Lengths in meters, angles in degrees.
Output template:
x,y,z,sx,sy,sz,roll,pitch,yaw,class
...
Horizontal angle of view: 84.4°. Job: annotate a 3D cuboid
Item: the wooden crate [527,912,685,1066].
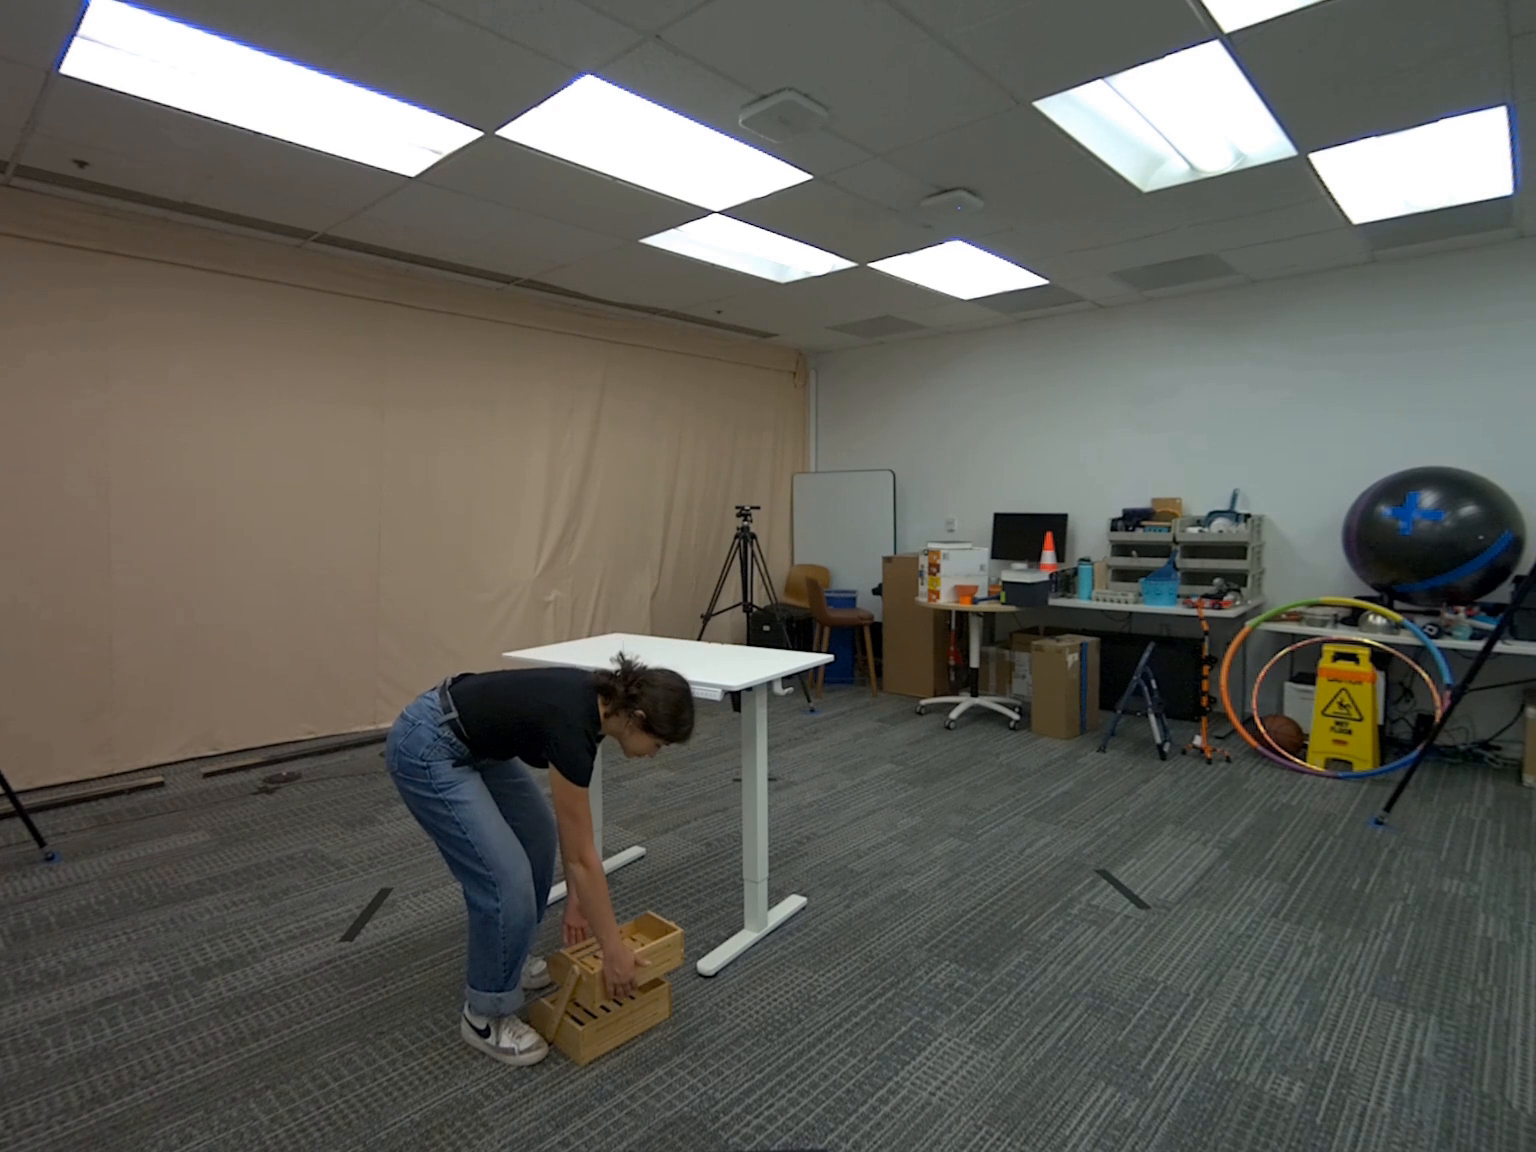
x,y,z,sx,sy,sz,roll,pitch,yaw,class
-0.434,1.076,2.253,0.314,0.272,0.312,-3,6,-45,wooden crate
